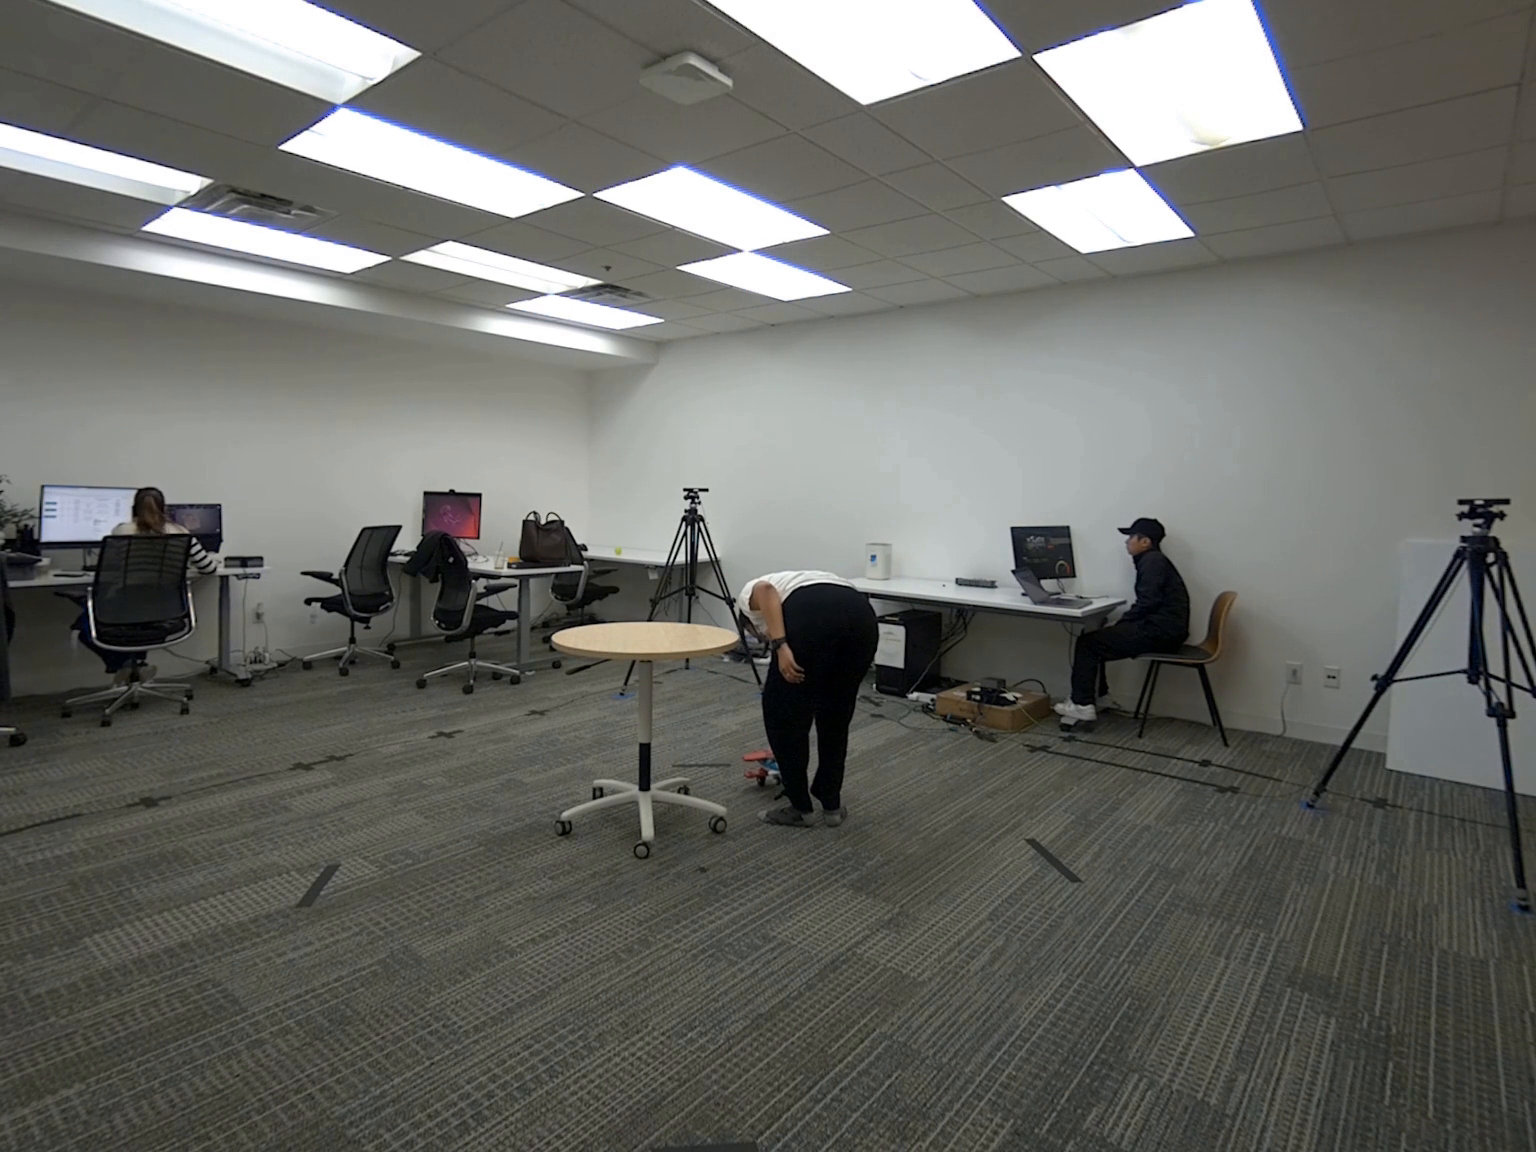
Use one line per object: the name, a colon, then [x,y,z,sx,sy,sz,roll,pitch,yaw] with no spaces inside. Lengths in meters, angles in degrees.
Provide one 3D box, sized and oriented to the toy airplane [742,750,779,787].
toy airplane: [0.029,0.891,3.984,0.264,0.158,0.243,-20,-14,42]
